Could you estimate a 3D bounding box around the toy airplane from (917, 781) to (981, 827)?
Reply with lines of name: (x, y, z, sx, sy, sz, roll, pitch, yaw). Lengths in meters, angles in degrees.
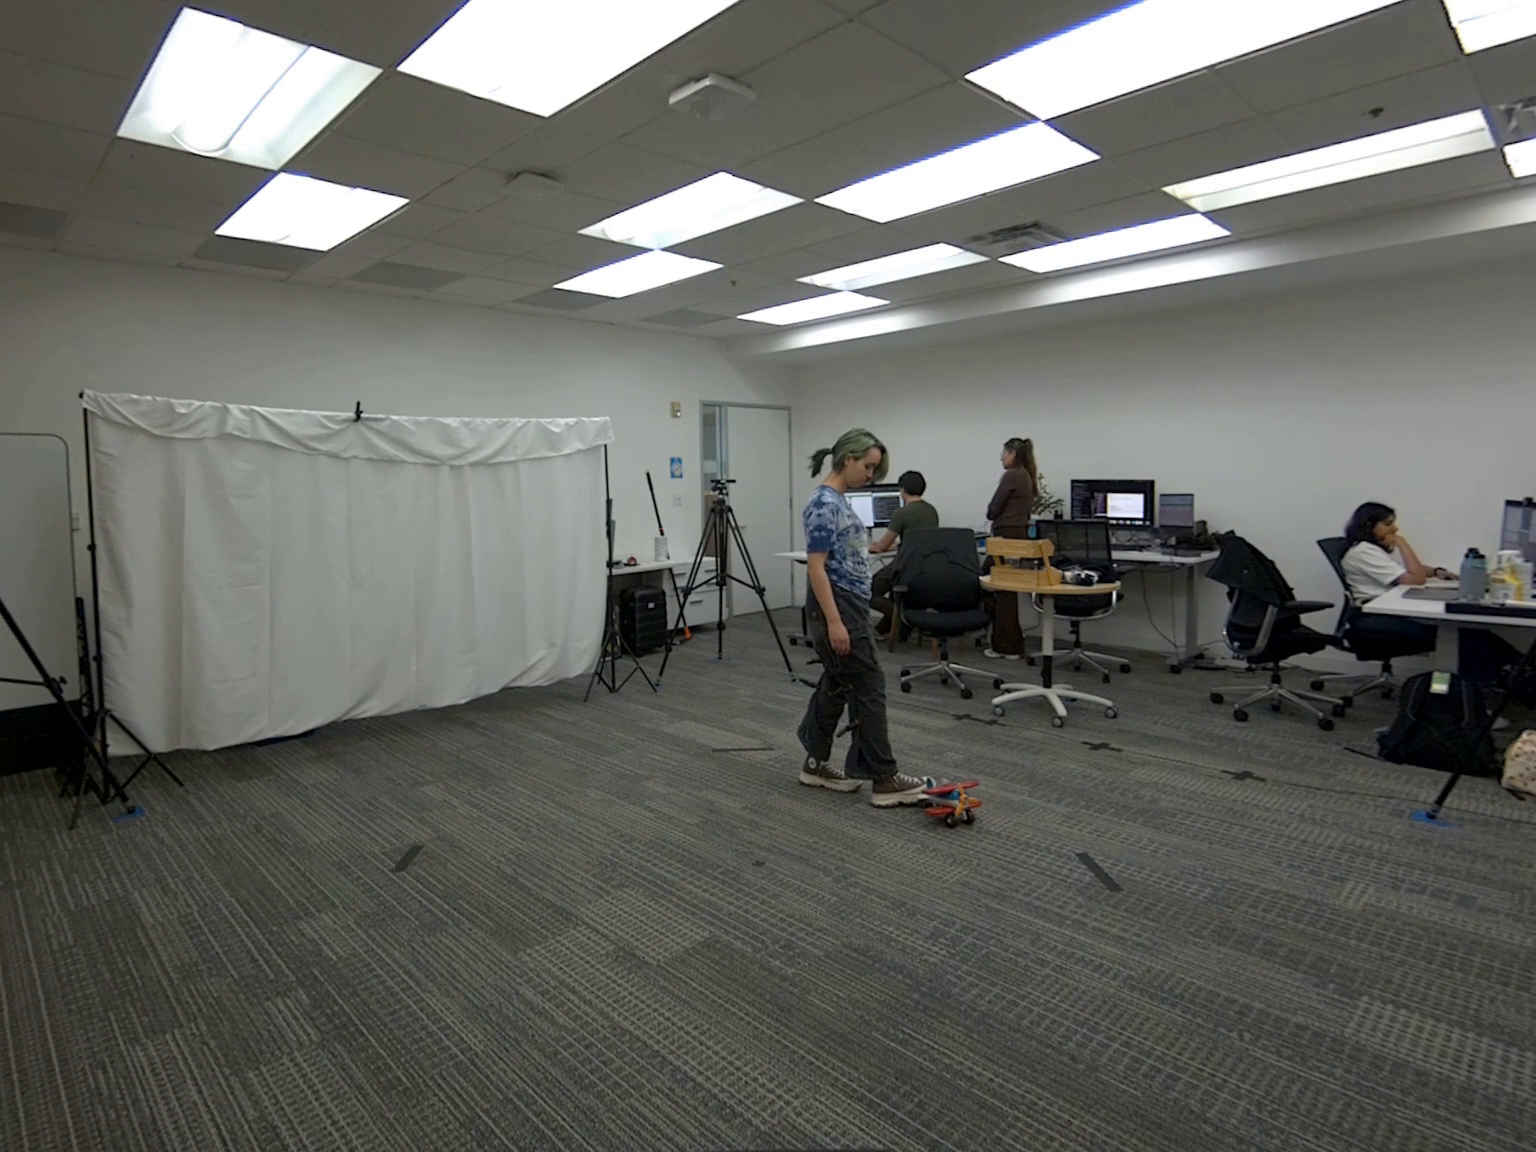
toy airplane: (0.716, 0.918, 3.488, 0.267, 0.155, 0.245, 5, 9, 38)
